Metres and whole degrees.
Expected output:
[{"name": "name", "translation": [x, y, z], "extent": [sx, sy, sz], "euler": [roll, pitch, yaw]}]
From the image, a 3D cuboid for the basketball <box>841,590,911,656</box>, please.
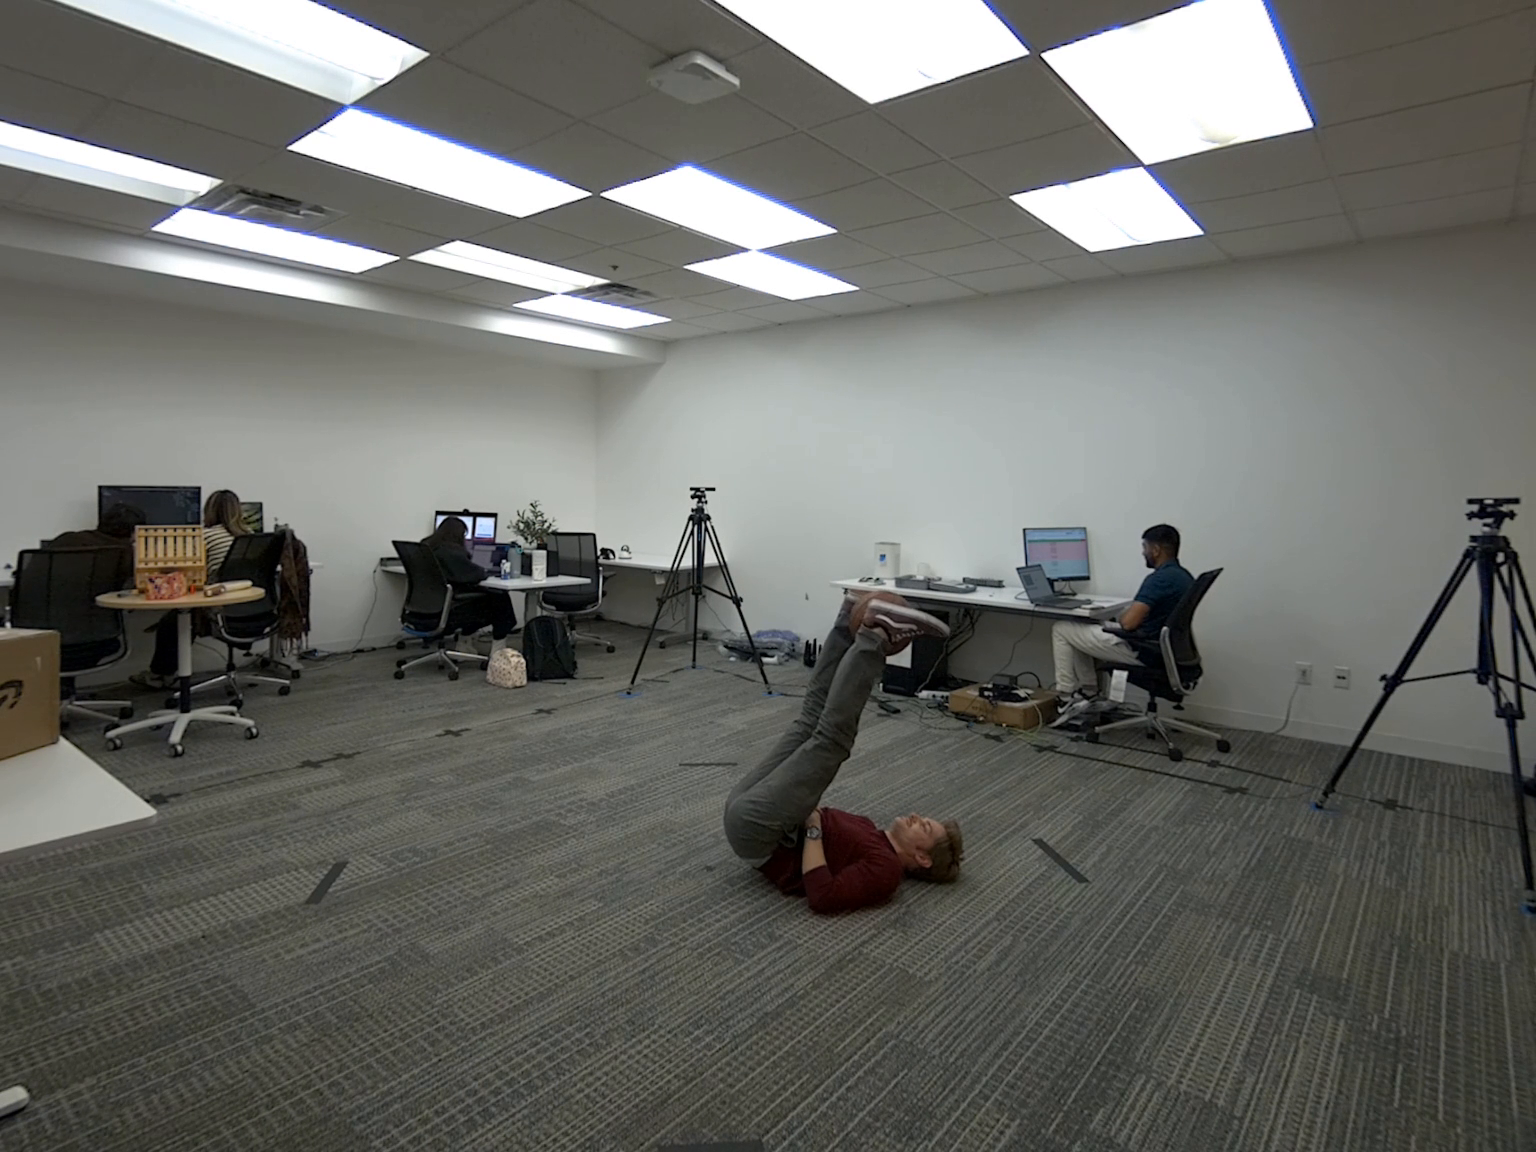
[{"name": "basketball", "translation": [0.393, 0.161, 3.080], "extent": [0.236, 0.235, 0.237], "euler": [-3, 3, -2]}]
